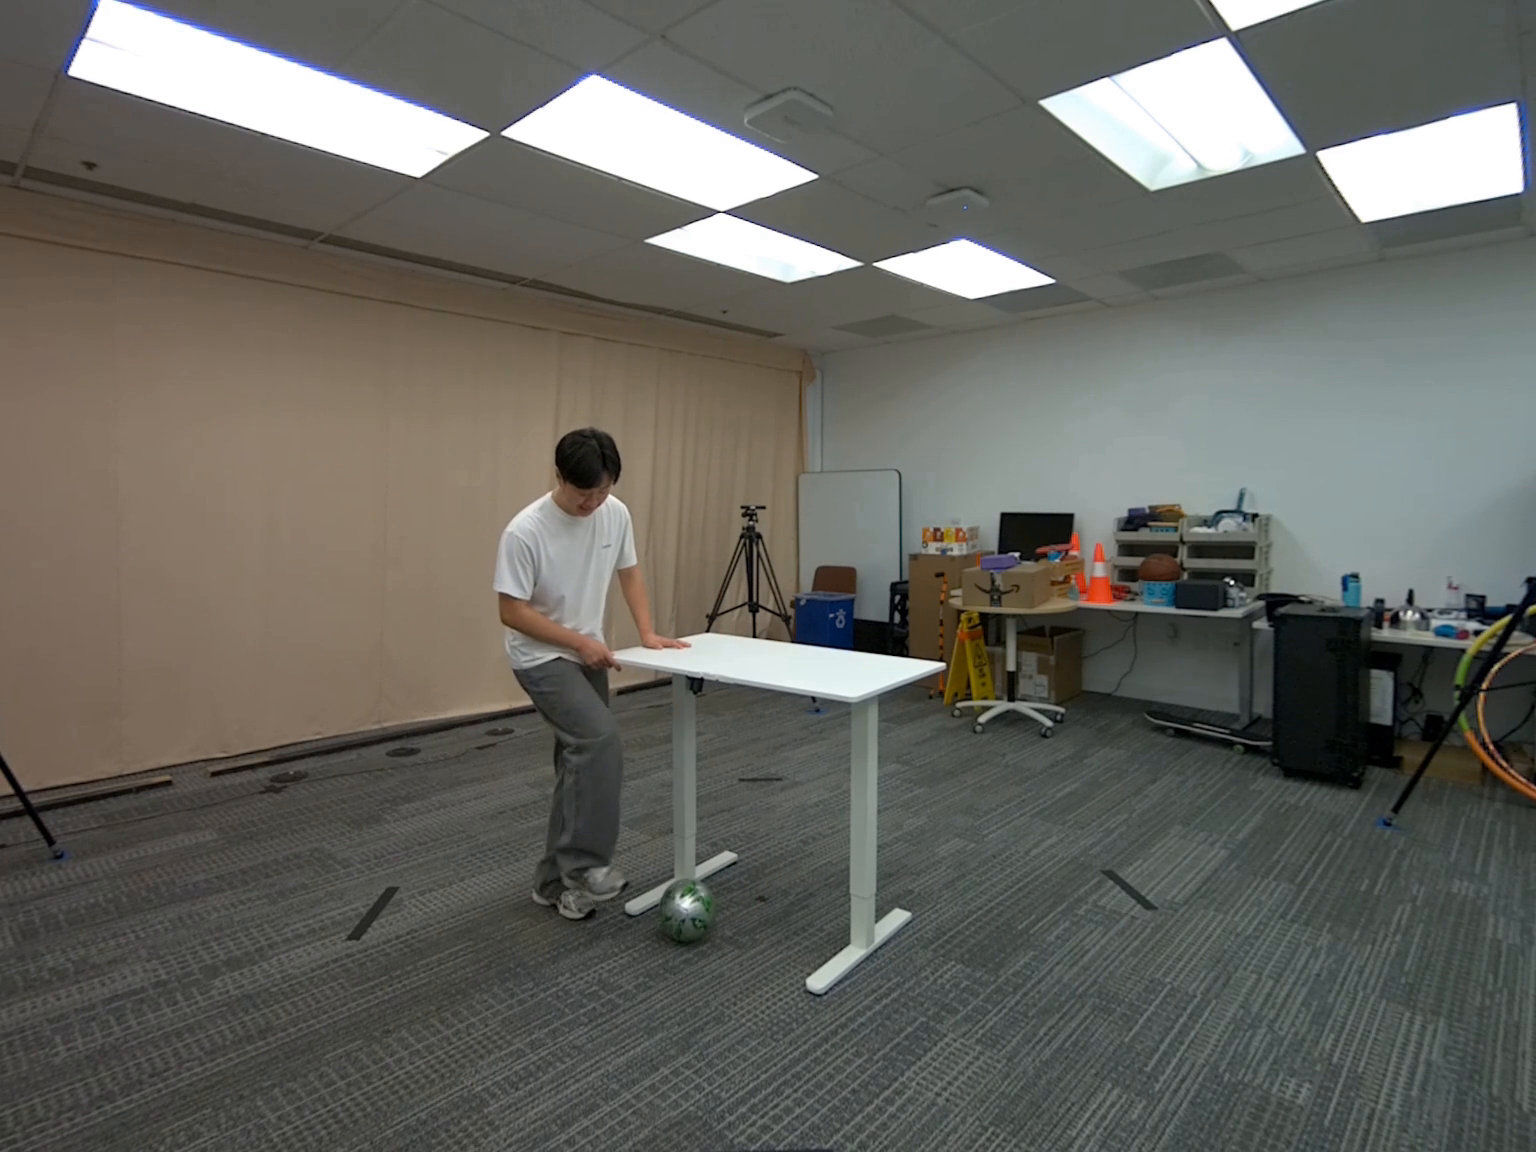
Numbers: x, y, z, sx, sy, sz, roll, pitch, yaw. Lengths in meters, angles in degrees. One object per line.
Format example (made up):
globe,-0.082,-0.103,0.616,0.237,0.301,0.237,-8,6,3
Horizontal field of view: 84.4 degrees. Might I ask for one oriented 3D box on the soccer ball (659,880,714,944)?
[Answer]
soccer ball,-0.247,1.079,2.698,0.187,0.187,0.188,0,4,-2
